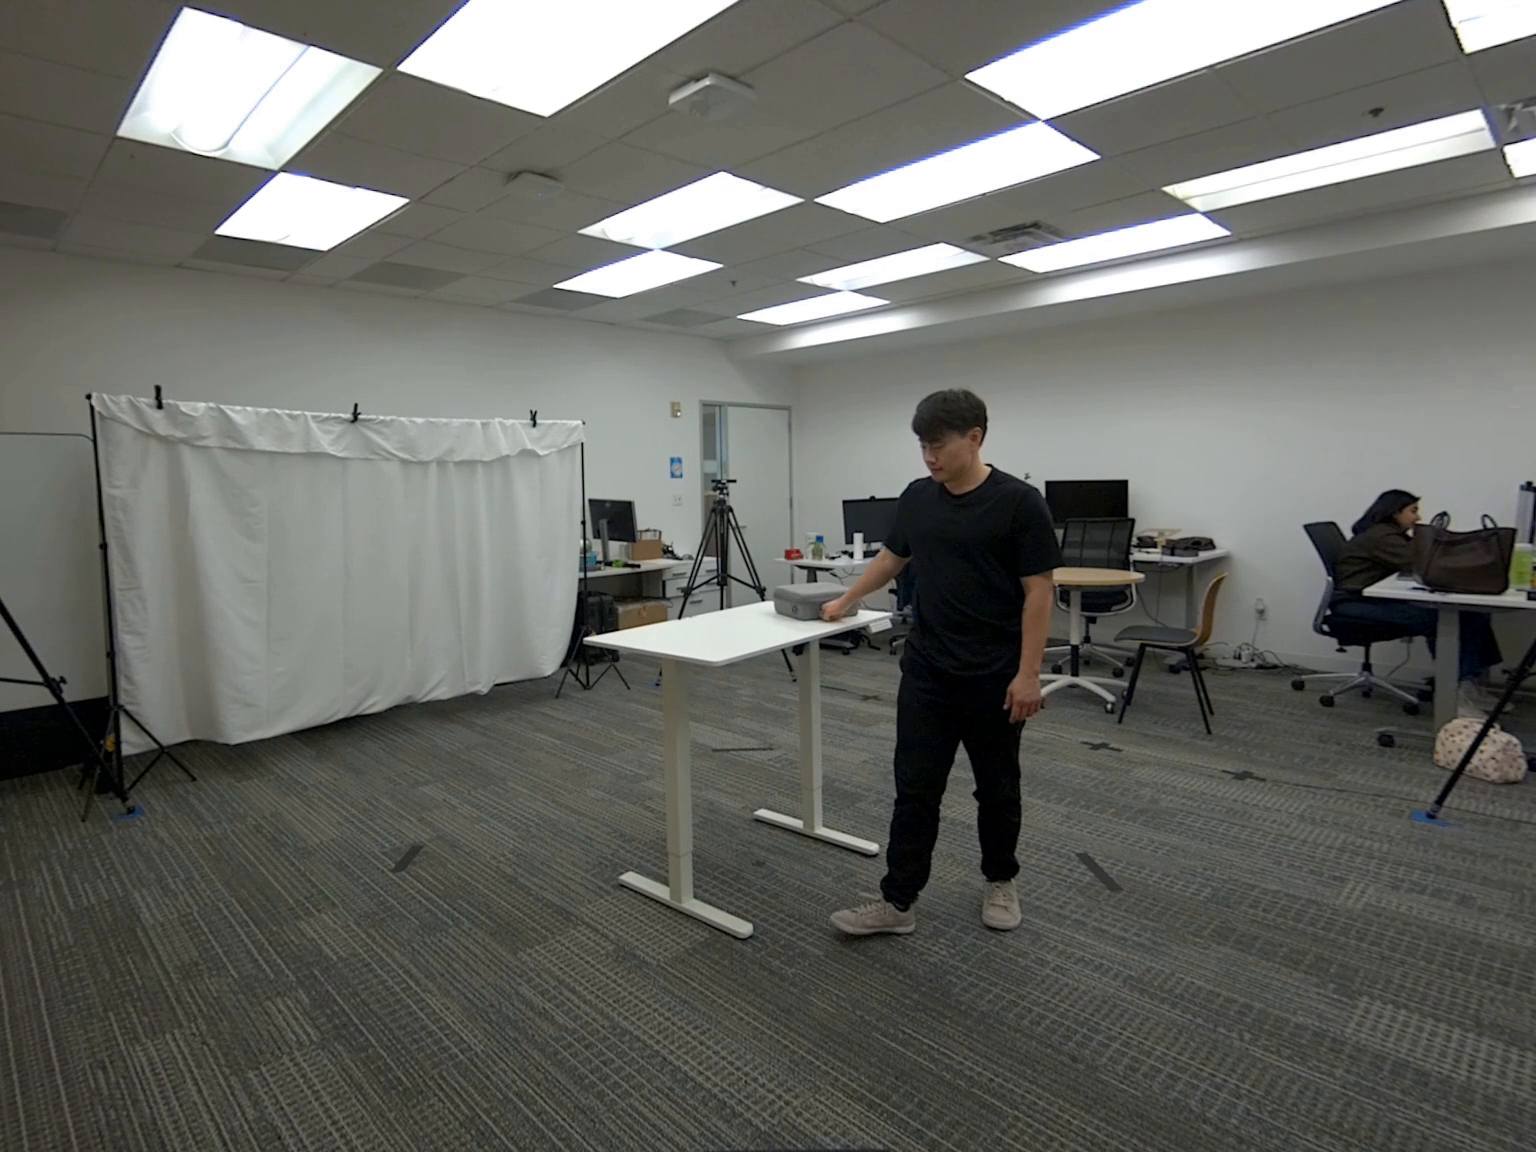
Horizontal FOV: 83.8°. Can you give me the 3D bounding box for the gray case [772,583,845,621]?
[{"bbox_3d":[0.184,0.093,3.215,0.252,0.104,0.267,-3,8,-24],"label":"gray case"}]
